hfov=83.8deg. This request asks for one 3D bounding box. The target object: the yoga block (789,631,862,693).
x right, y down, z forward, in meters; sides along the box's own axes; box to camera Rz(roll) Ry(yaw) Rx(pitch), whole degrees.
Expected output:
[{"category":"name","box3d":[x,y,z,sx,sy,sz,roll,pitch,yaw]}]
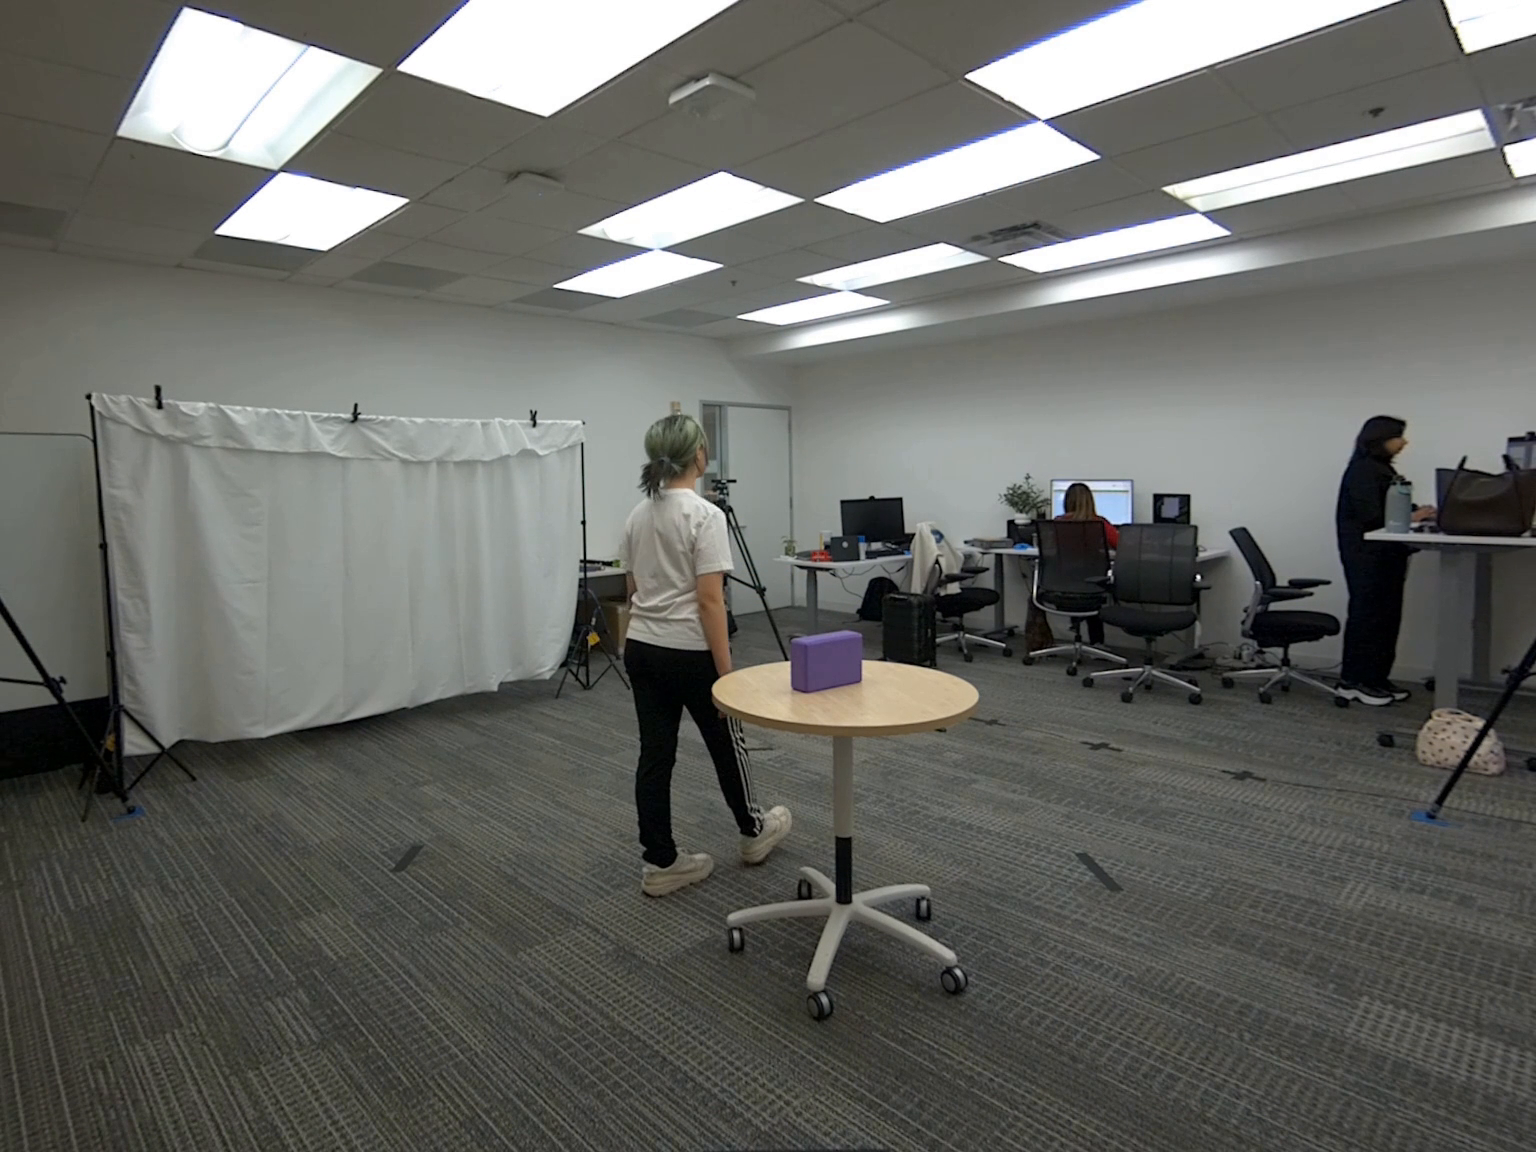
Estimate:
[{"category":"yoga block","box3d":[0.177,0.250,2.517,0.223,0.148,0.079,-6,7,-38]}]
